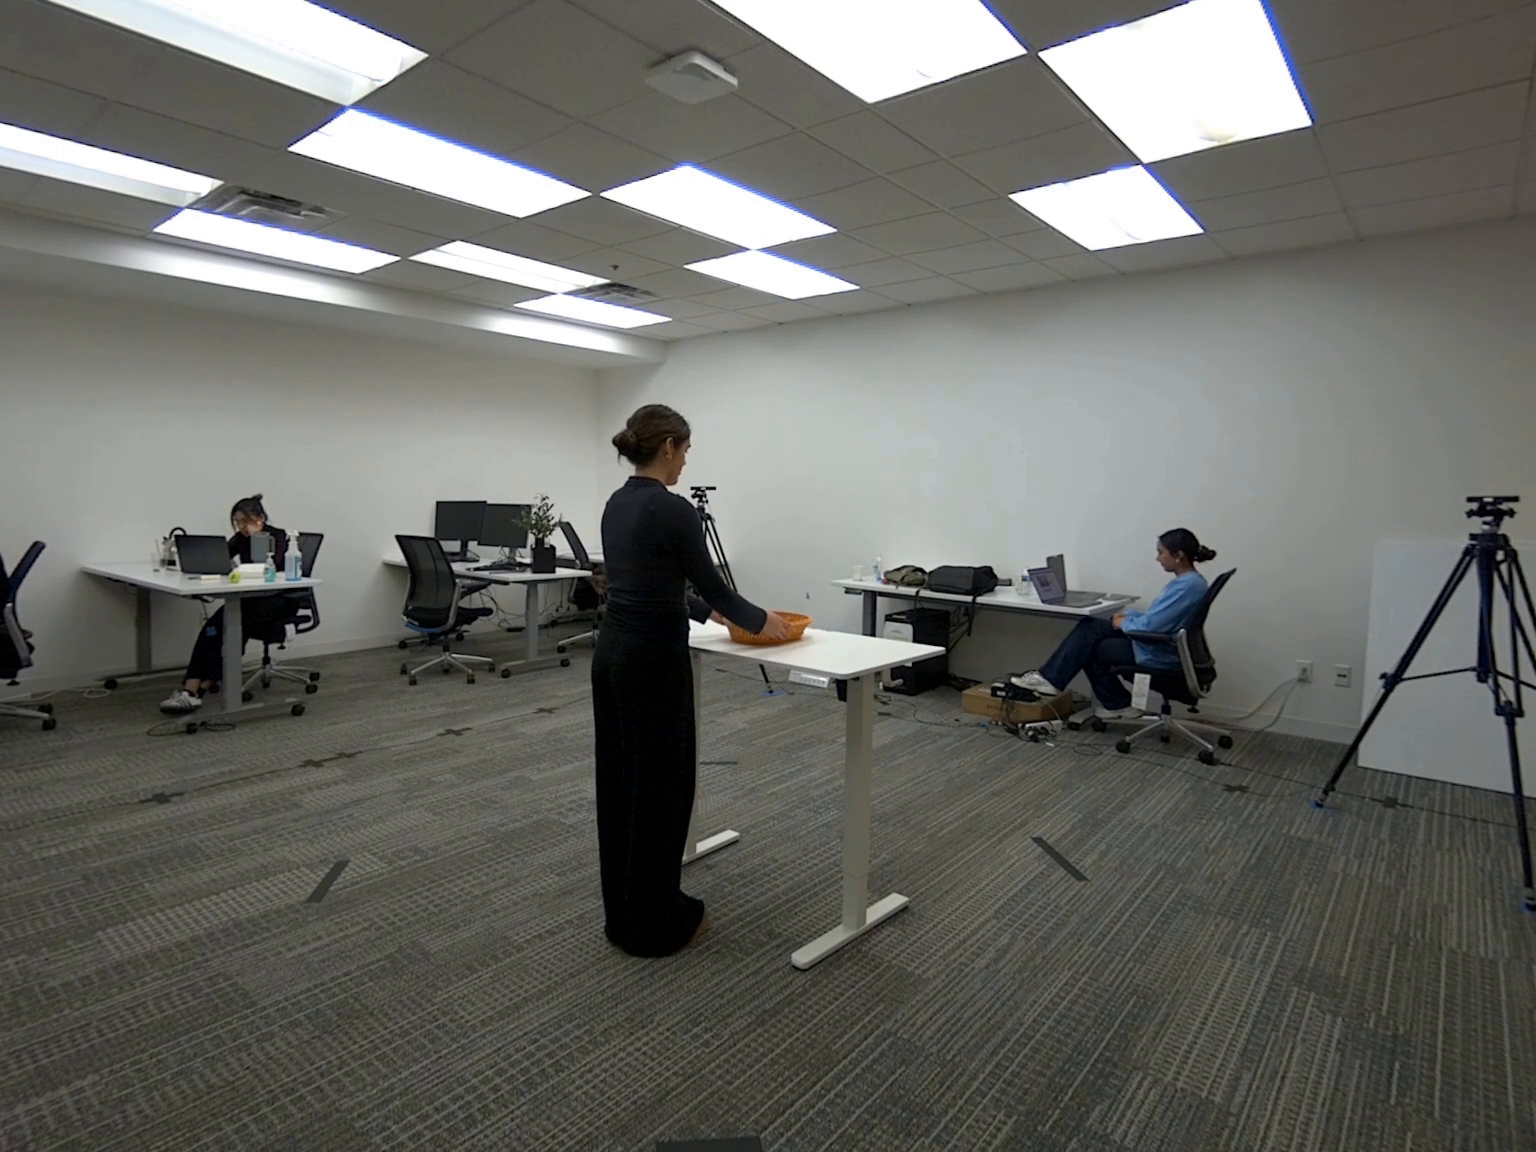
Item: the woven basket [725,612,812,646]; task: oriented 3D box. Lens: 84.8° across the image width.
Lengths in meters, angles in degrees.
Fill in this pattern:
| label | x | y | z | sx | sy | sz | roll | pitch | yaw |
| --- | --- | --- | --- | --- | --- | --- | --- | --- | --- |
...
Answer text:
| label | x | y | z | sx | sy | sz | roll | pitch | yaw |
| --- | --- | --- | --- | --- | --- | --- | --- | --- | --- |
| woven basket | -0.009 | 0.177 | 2.870 | 0.261 | 0.073 | 0.340 | 6 | 7 | 42 |
